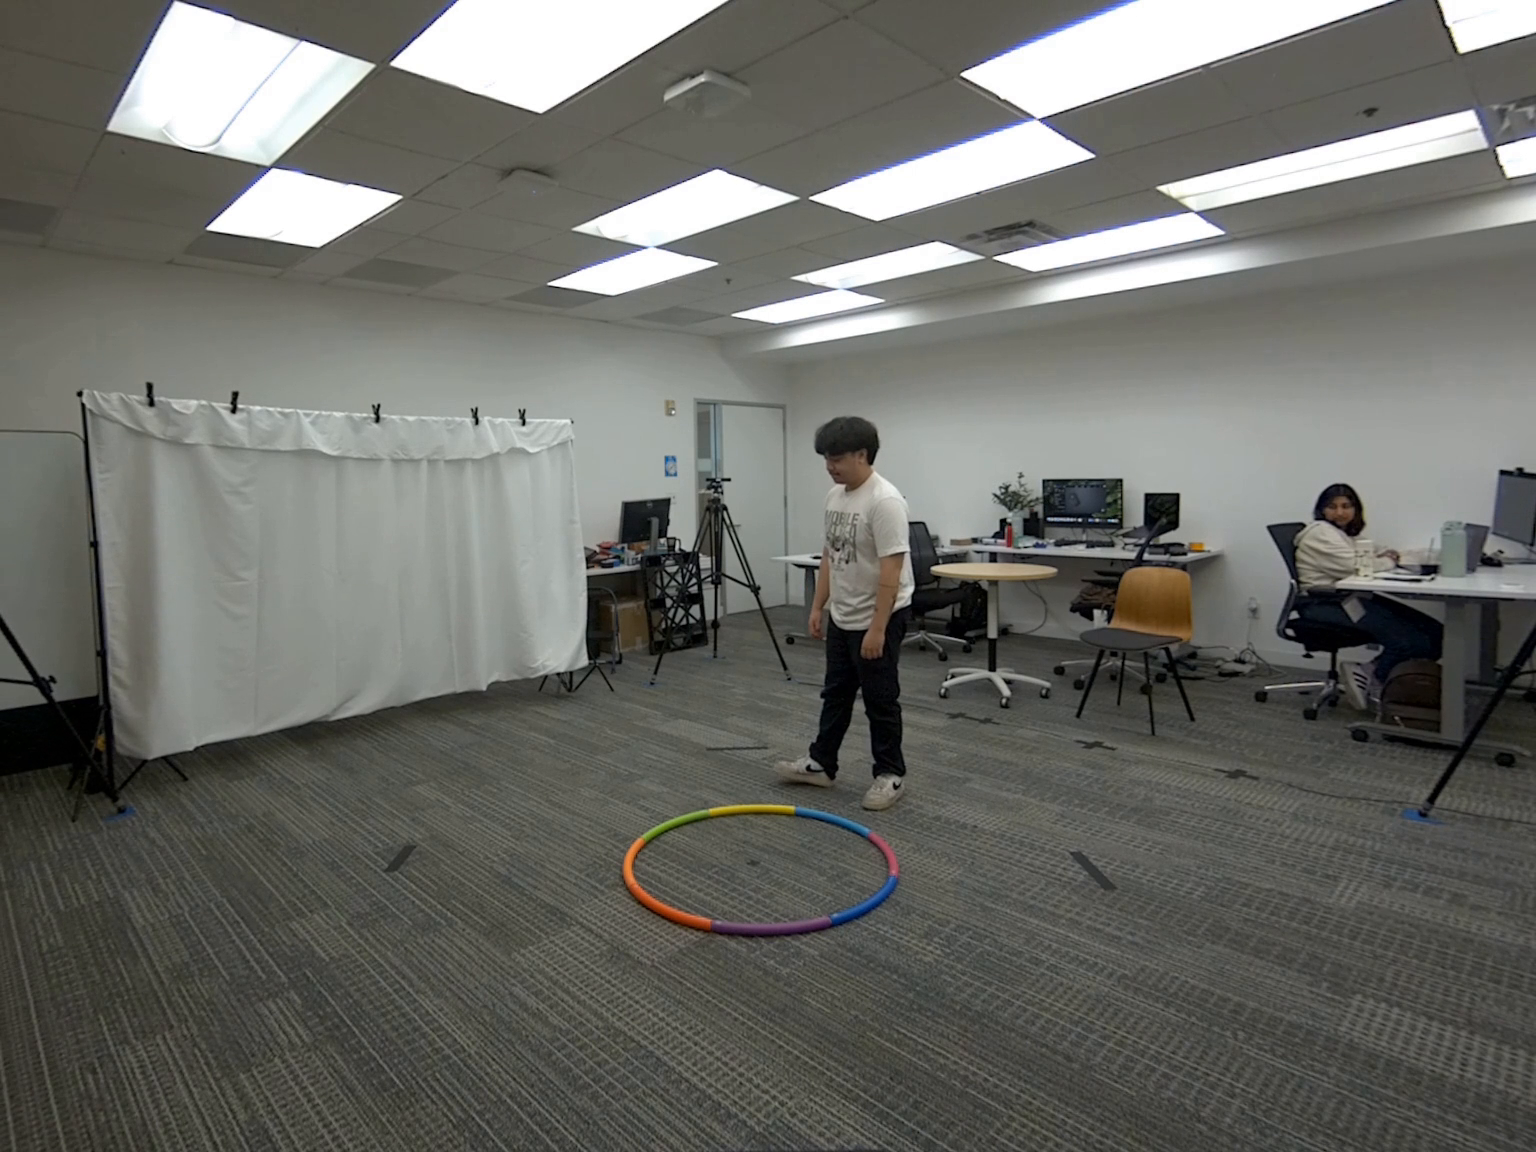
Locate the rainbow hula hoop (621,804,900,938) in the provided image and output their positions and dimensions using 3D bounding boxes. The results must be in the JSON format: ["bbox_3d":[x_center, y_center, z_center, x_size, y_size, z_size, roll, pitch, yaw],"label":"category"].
[{"bbox_3d":[-0.026,1.018,3.091,0.985,0.051,0.991,-1,7,-2],"label":"rainbow hula hoop"}]
